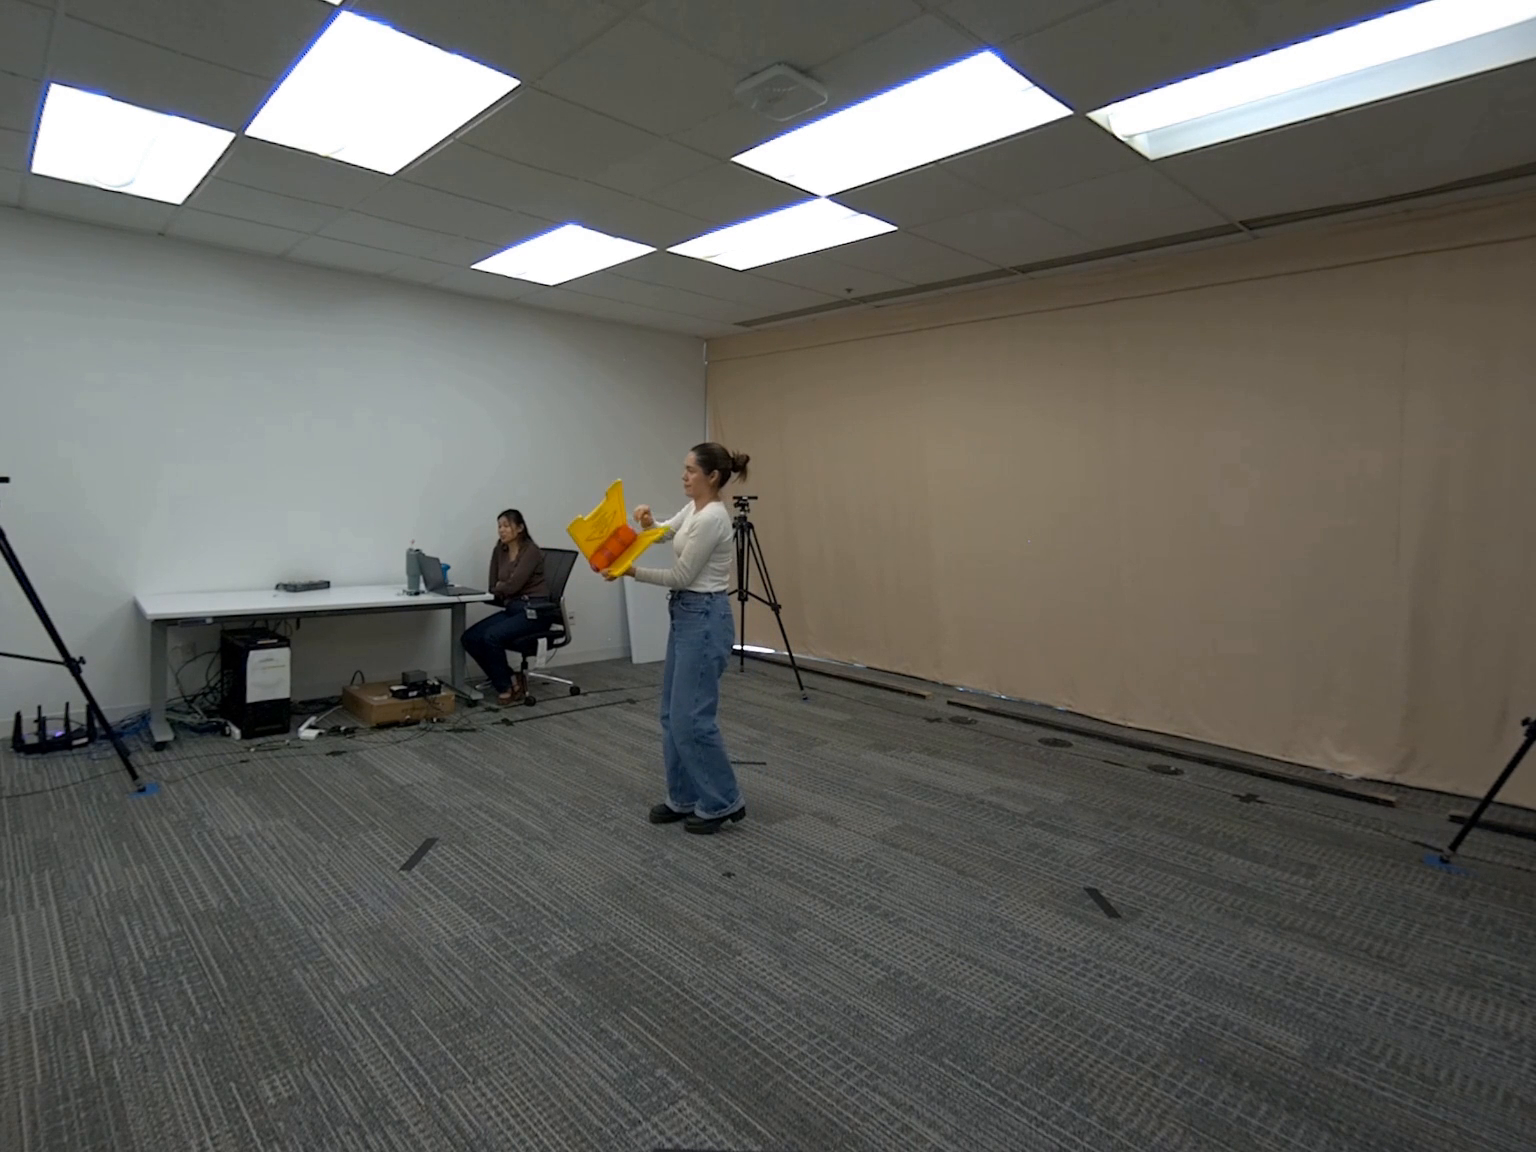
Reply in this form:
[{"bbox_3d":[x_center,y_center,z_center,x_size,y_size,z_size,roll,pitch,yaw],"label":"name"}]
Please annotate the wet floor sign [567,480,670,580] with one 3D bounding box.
[{"bbox_3d":[-0.640,-0.132,3.470,0.289,0.282,0.648,44,-14,-4],"label":"wet floor sign"}]
